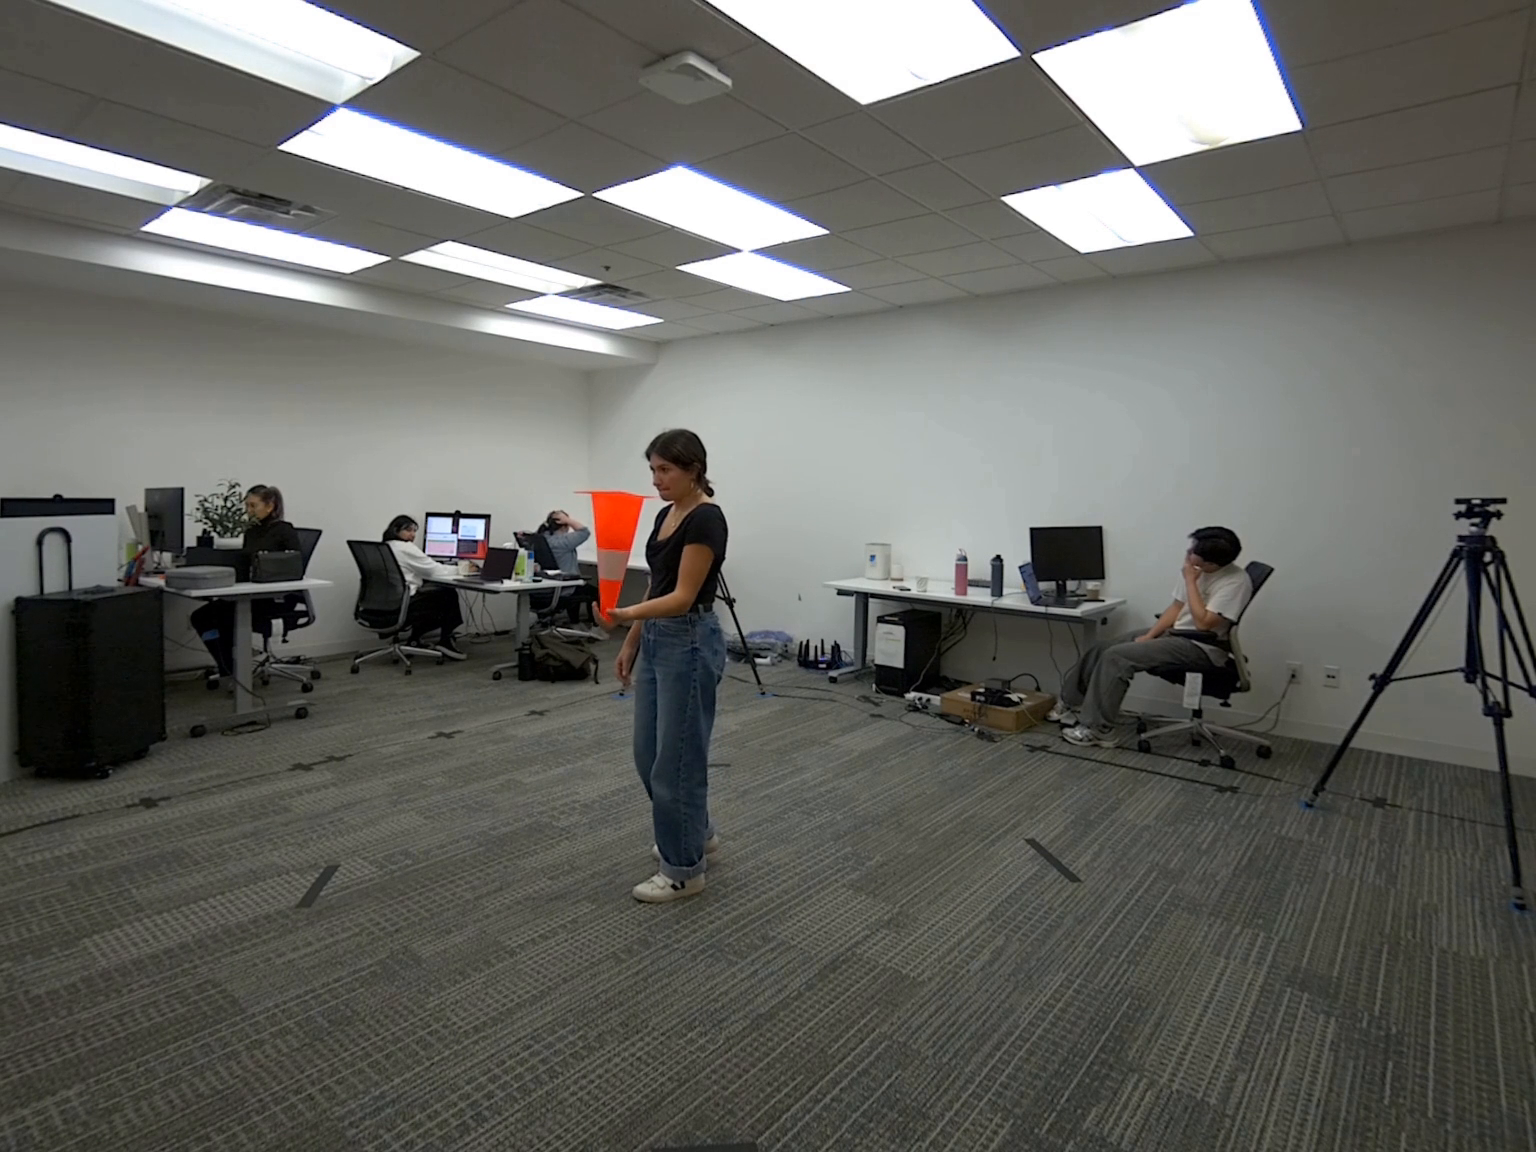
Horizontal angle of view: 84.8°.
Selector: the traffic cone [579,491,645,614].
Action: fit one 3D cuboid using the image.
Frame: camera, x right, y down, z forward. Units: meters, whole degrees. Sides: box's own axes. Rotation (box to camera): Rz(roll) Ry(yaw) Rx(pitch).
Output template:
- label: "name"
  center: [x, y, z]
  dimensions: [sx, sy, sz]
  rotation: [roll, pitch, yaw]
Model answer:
- label: "traffic cone"
  center: [-0.481, -0.057, 2.560]
  dimensions: [0.209, 0.384, 0.199]
  rotation: [4, -2, 16]
